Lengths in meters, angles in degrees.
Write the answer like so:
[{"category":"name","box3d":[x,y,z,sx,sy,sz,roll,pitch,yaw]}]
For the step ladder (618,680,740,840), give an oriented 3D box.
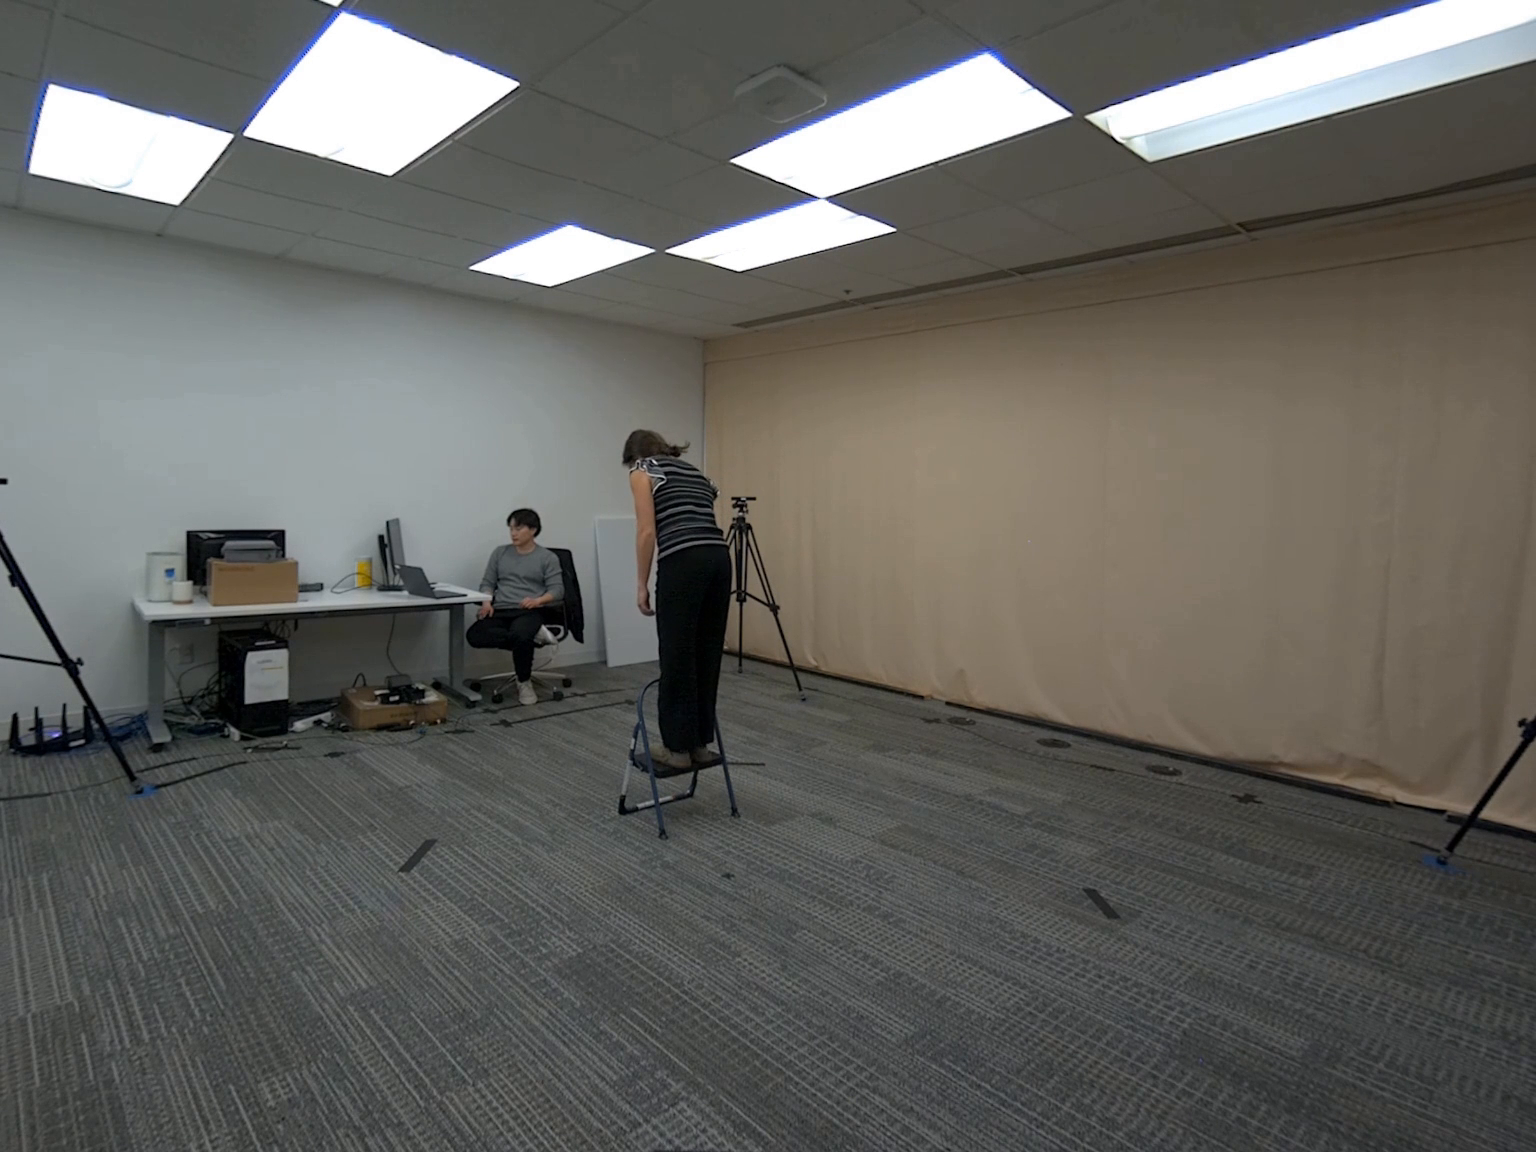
[{"category":"step ladder","box3d":[-0.392,0.749,3.679,0.421,0.605,0.358,-1,4,-43]}]
